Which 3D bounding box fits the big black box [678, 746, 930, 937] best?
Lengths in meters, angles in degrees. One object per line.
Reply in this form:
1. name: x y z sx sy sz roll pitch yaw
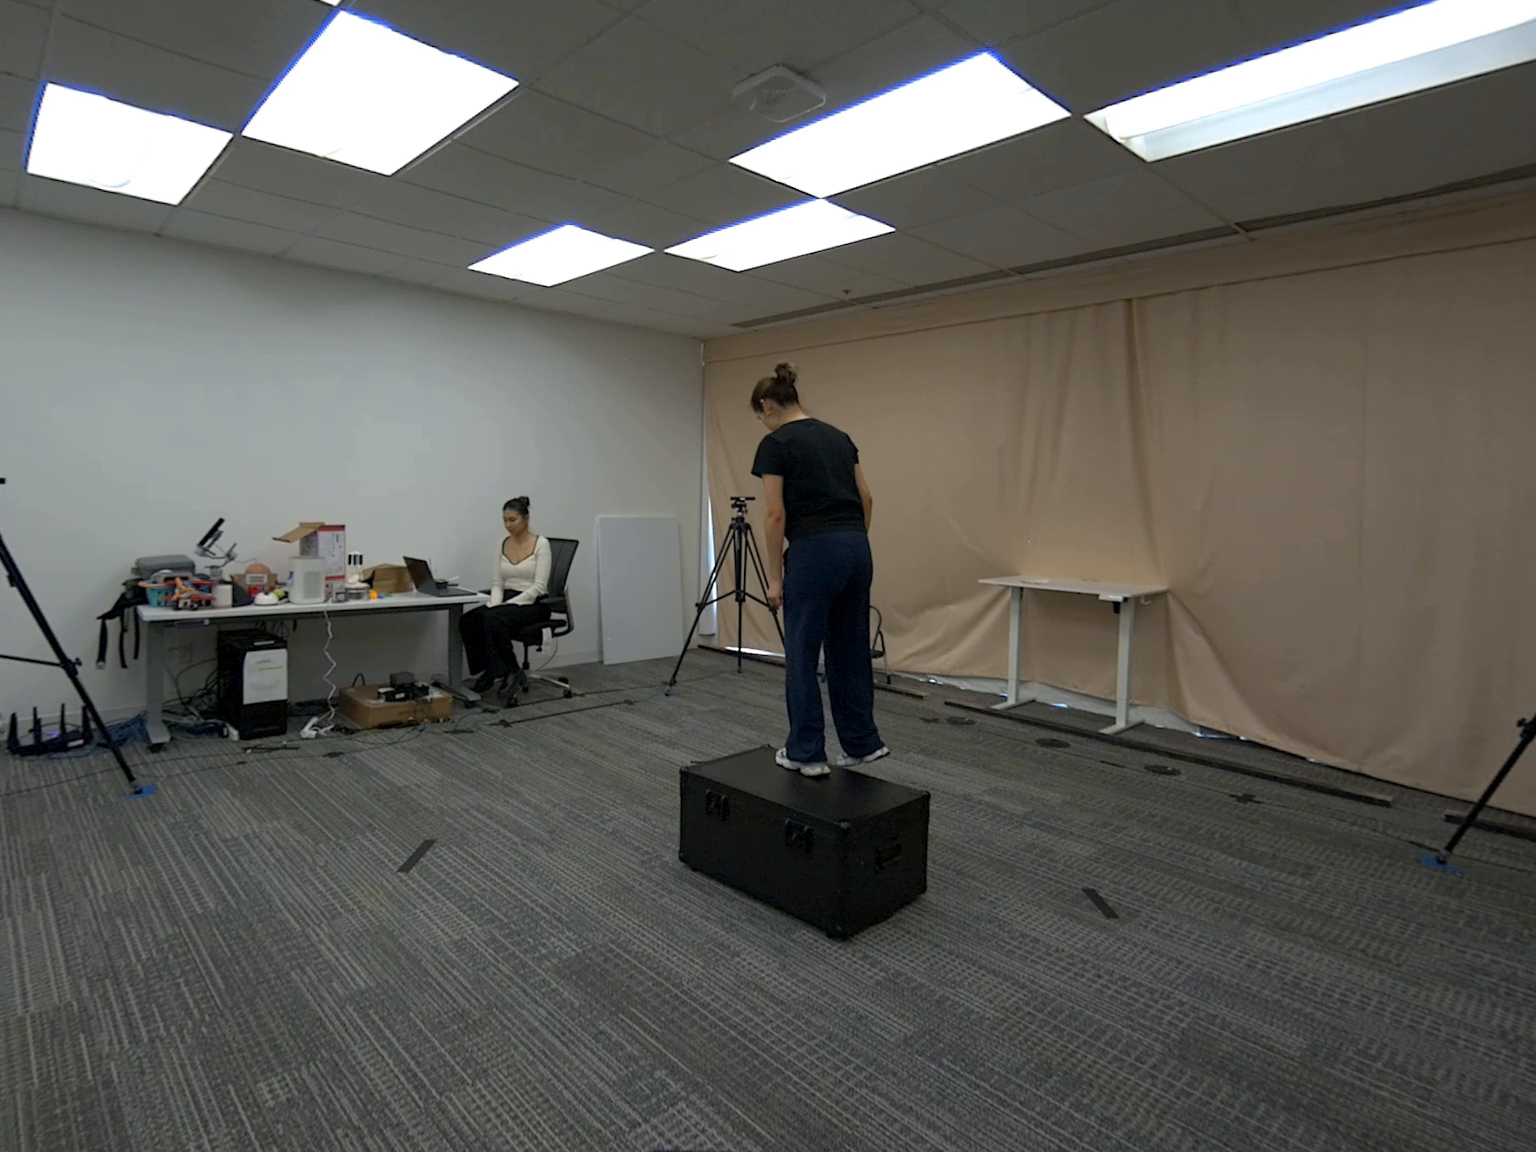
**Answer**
1. big black box: 0.090 0.926 3.071 0.884 0.395 0.509 7 6 43
